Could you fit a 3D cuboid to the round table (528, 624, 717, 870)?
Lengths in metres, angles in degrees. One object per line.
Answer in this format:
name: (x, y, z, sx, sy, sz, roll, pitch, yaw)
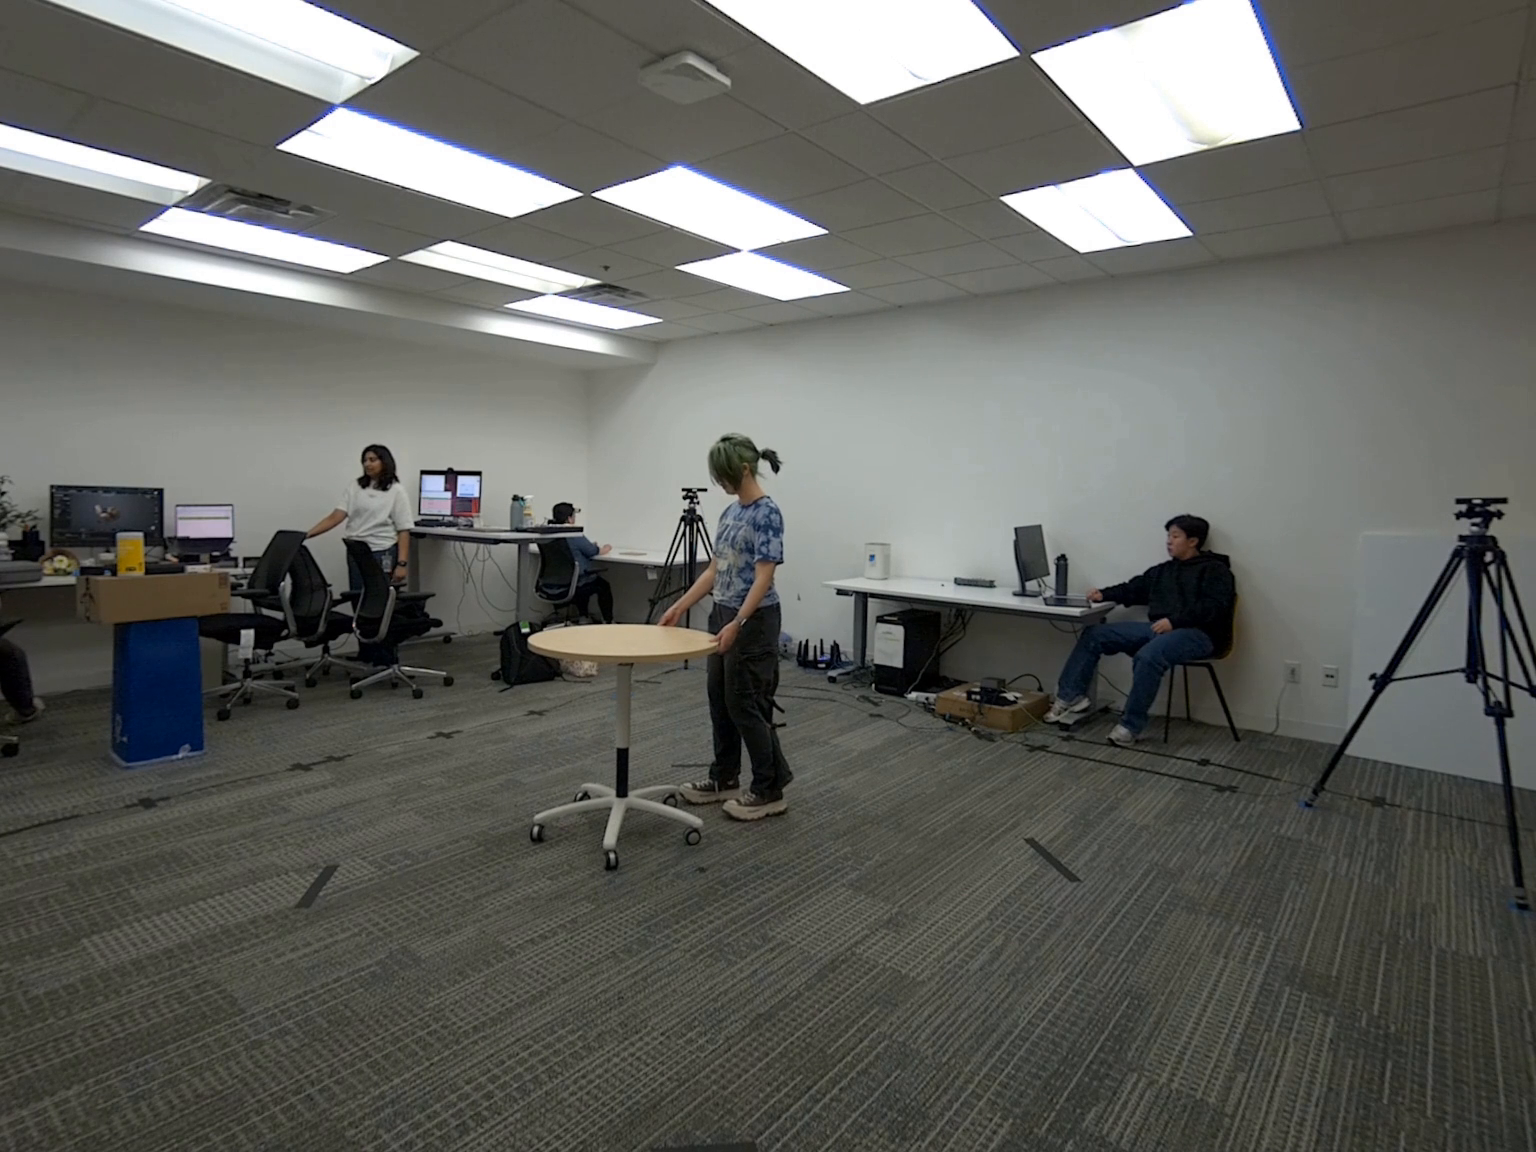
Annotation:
round table: (-0.597, 0.643, 3.428, 0.763, 0.792, 0.767, 1, 4, -2)
